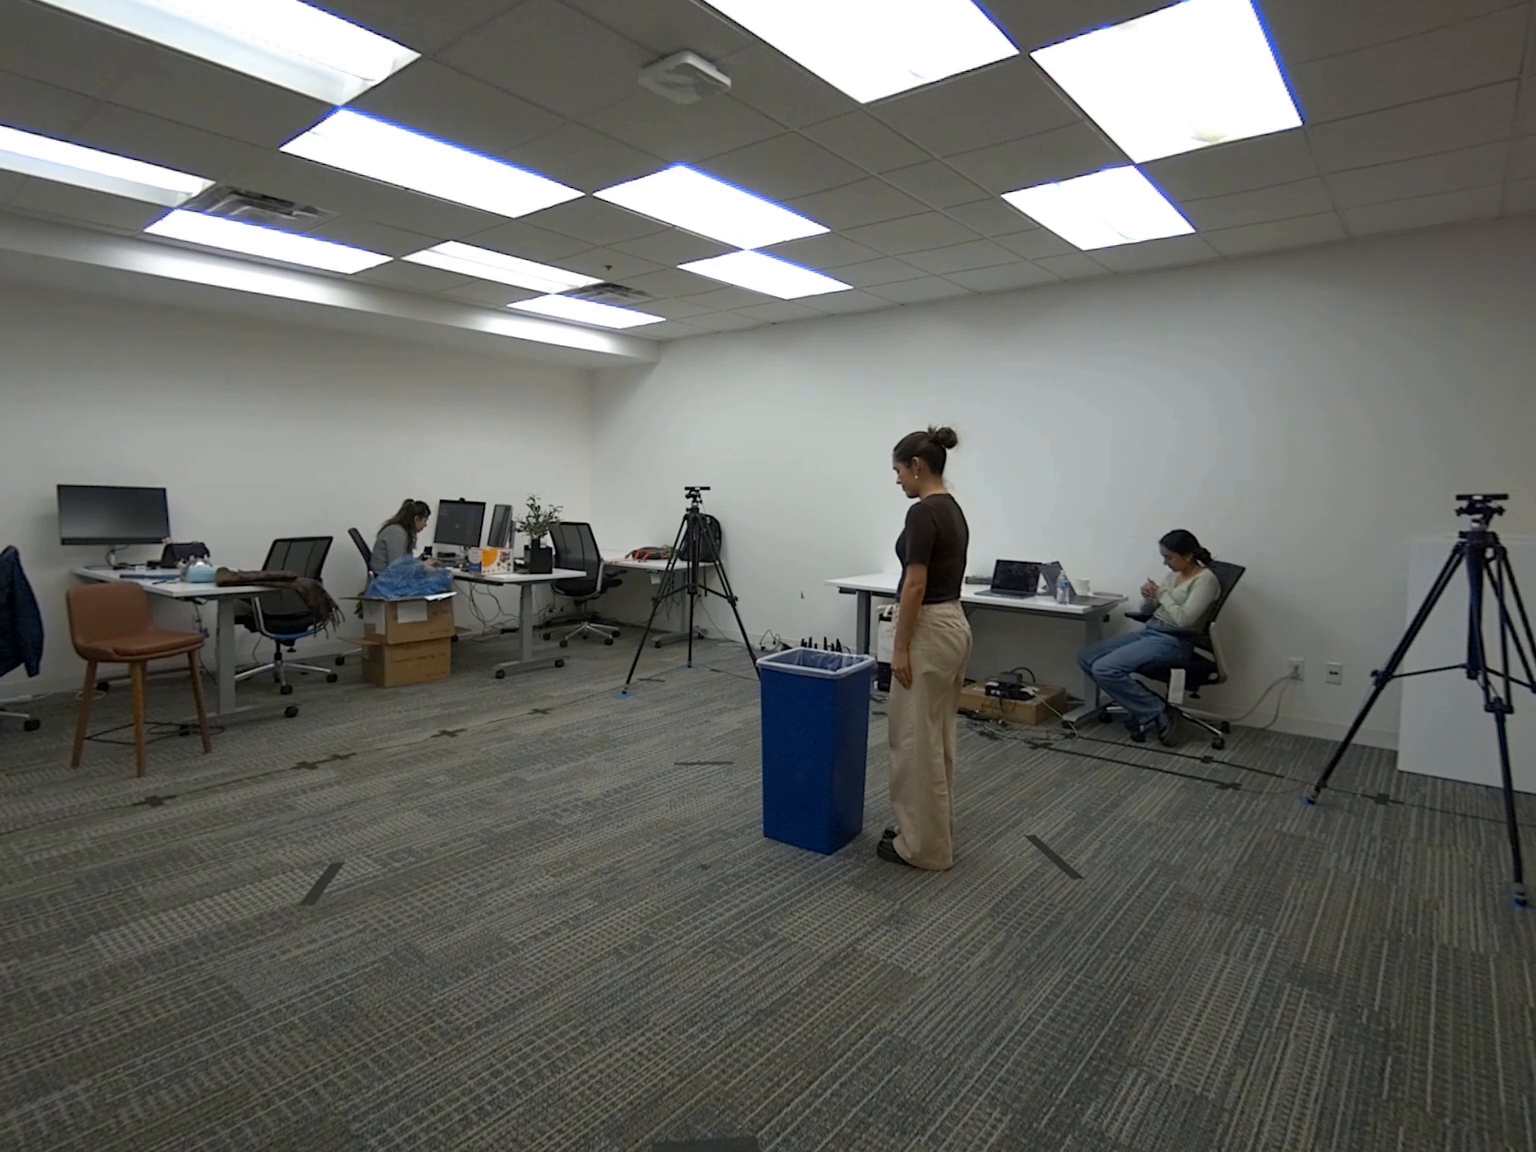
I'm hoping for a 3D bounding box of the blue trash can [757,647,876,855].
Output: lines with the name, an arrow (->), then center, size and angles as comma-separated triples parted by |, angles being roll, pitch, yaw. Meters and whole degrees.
blue trash can -> 0.180, 0.681, 3.411 | 0.390, 0.712, 0.364 | 3, 3, 33
